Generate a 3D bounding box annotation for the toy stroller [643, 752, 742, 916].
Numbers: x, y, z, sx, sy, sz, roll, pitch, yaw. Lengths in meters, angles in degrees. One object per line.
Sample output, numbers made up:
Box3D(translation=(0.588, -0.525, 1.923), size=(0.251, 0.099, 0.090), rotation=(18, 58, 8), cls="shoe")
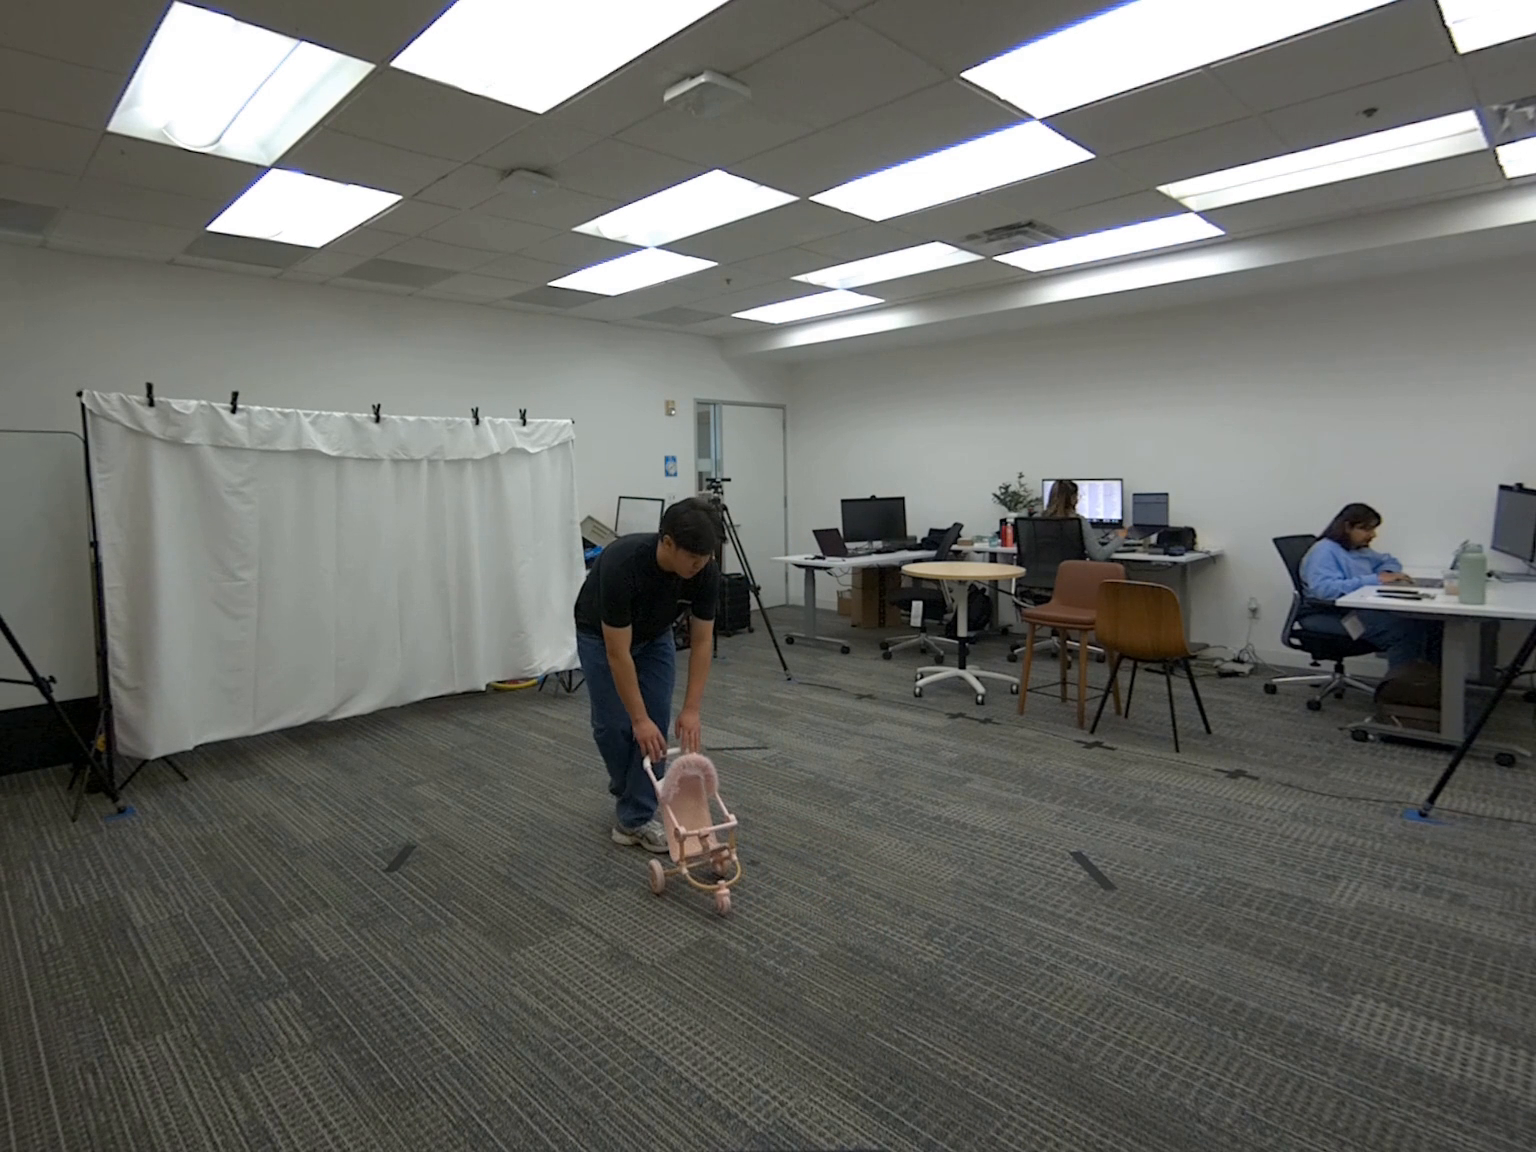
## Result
Box3D(translation=(-0.246, 0.844, 2.896), size=(0.275, 0.542, 0.344), rotation=(-3, -14, -26), cls="toy stroller")
